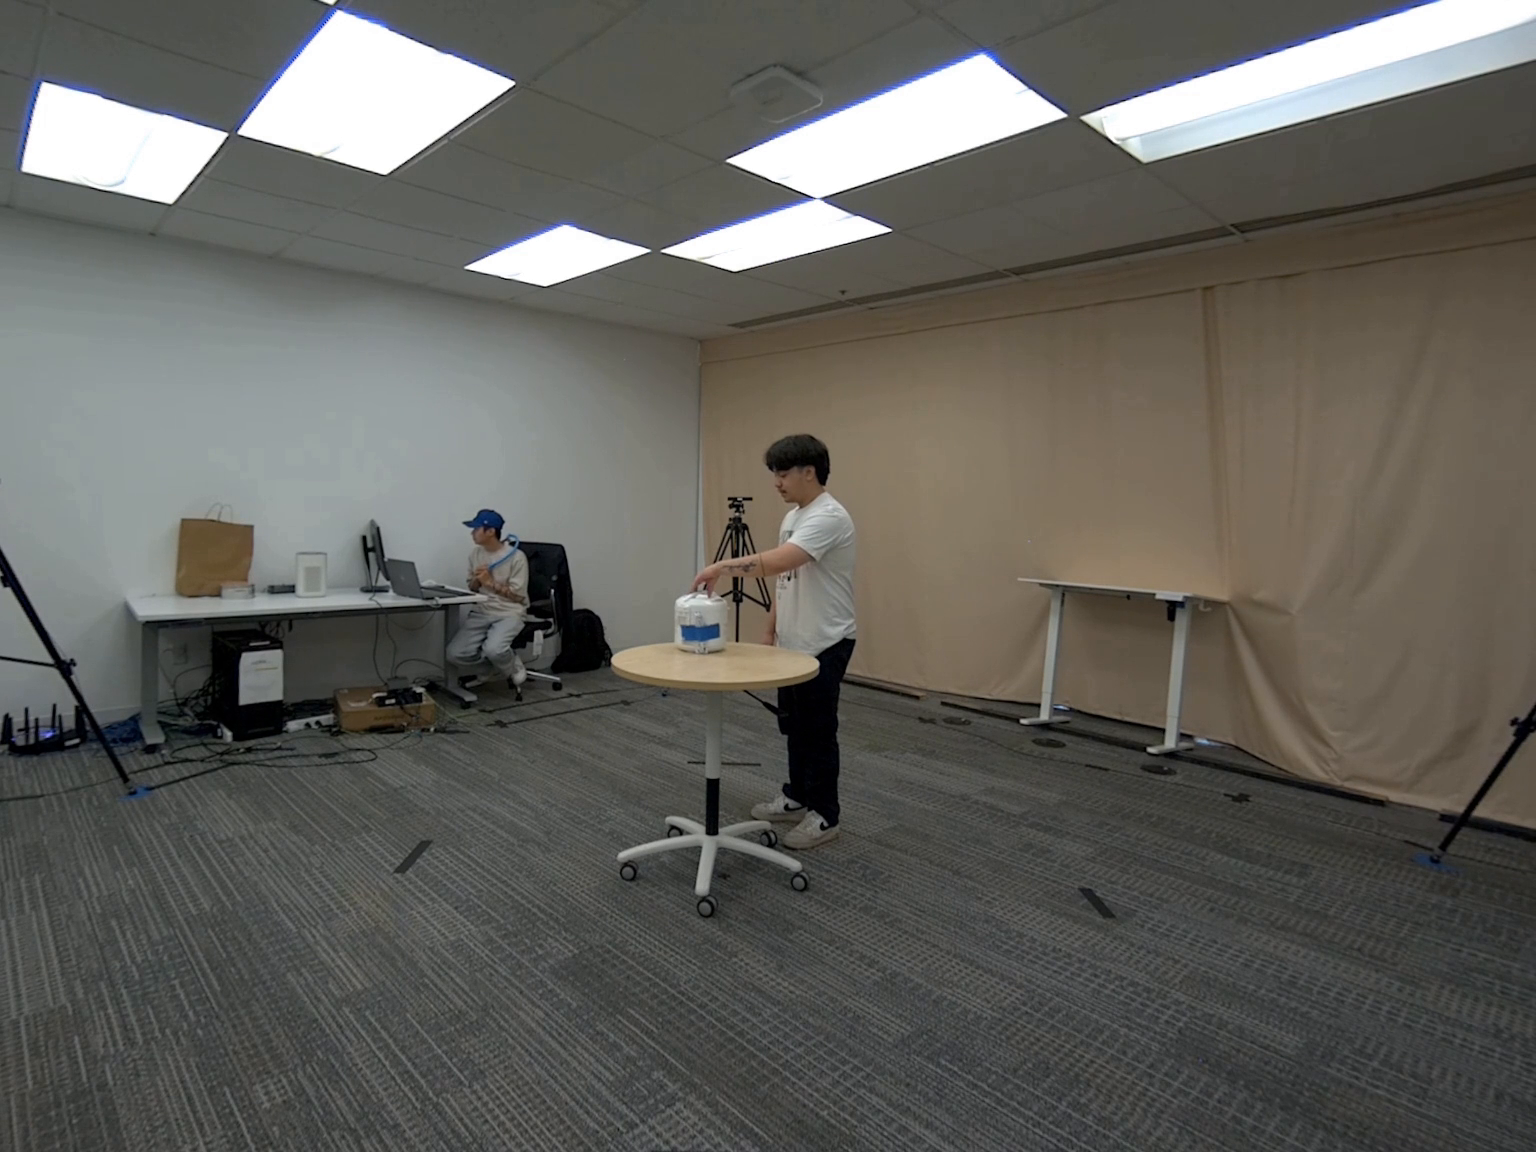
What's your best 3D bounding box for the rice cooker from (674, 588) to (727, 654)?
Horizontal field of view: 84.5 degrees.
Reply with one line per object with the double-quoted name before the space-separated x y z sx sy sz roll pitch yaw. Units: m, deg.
"rice cooker" -0.272 0.174 3.299 0.223 0.232 0.216 7 6 40
